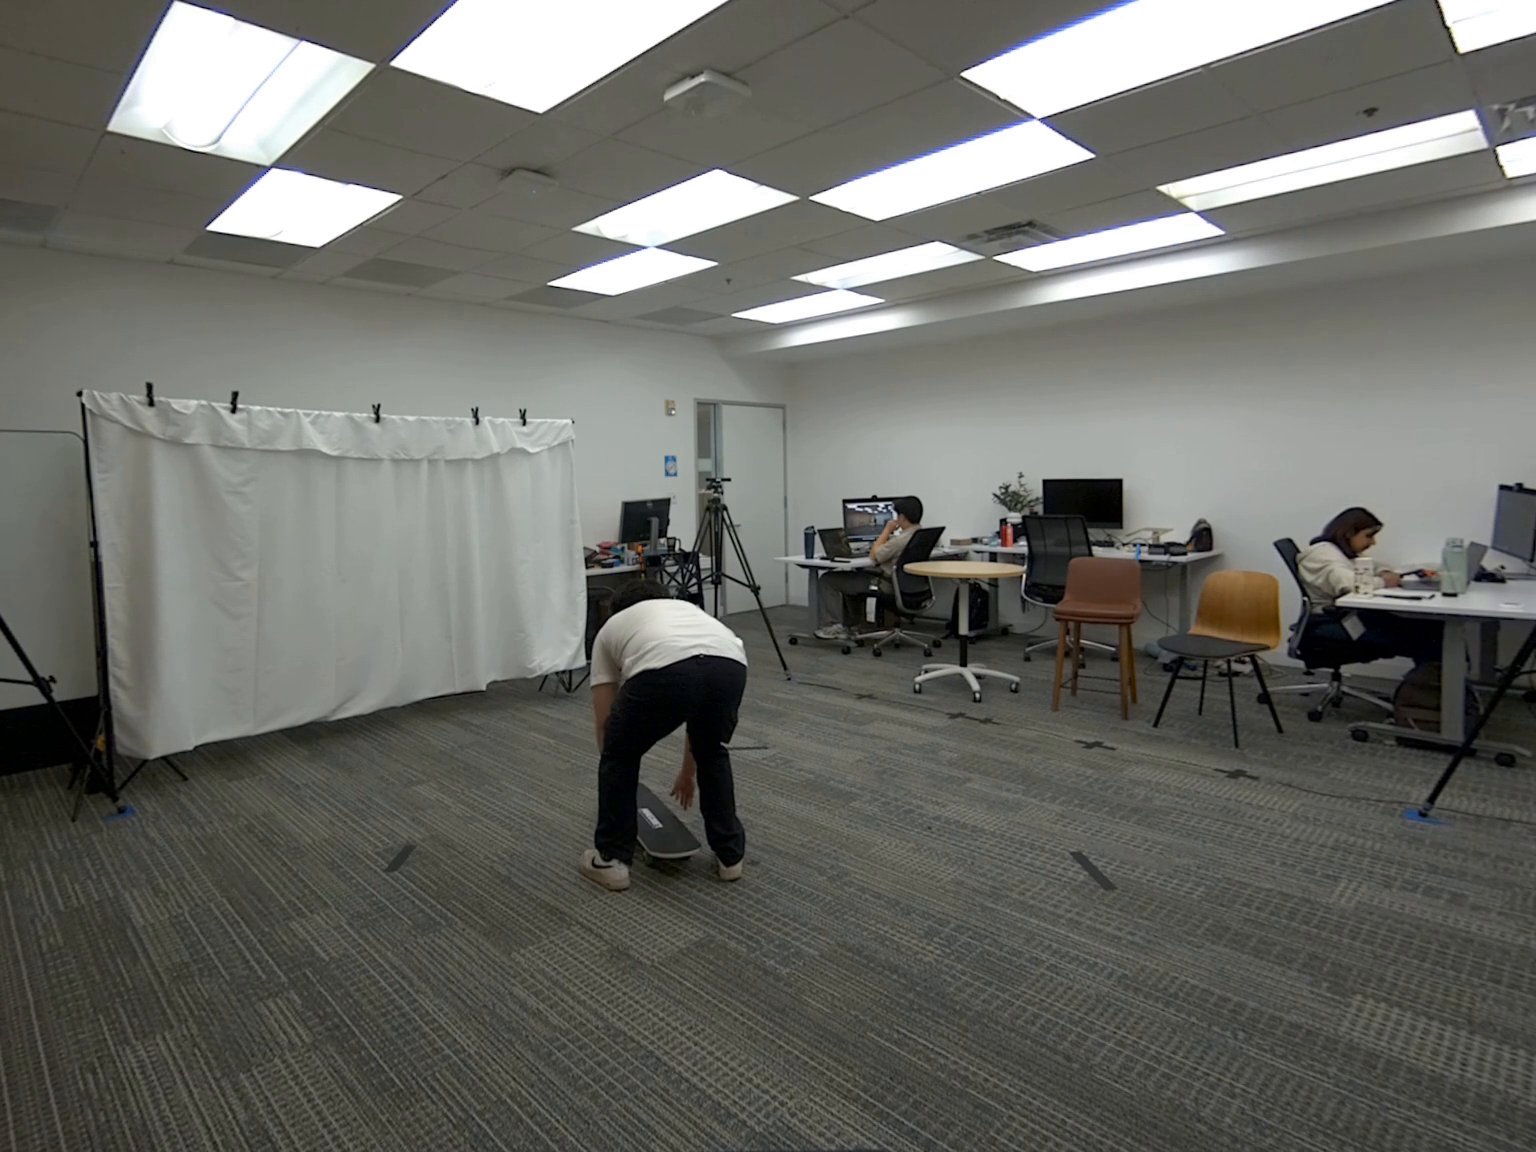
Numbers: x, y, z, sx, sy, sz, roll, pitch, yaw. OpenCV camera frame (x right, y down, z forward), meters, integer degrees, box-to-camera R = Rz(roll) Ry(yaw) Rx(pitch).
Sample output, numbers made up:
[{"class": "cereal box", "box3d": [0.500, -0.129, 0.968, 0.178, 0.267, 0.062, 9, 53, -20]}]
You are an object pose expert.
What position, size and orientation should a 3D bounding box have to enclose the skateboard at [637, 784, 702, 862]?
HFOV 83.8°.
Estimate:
[{"class": "skateboard", "box3d": [-0.452, 0.969, 3.307, 0.189, 0.110, 0.805, -3, 6, -25]}]
